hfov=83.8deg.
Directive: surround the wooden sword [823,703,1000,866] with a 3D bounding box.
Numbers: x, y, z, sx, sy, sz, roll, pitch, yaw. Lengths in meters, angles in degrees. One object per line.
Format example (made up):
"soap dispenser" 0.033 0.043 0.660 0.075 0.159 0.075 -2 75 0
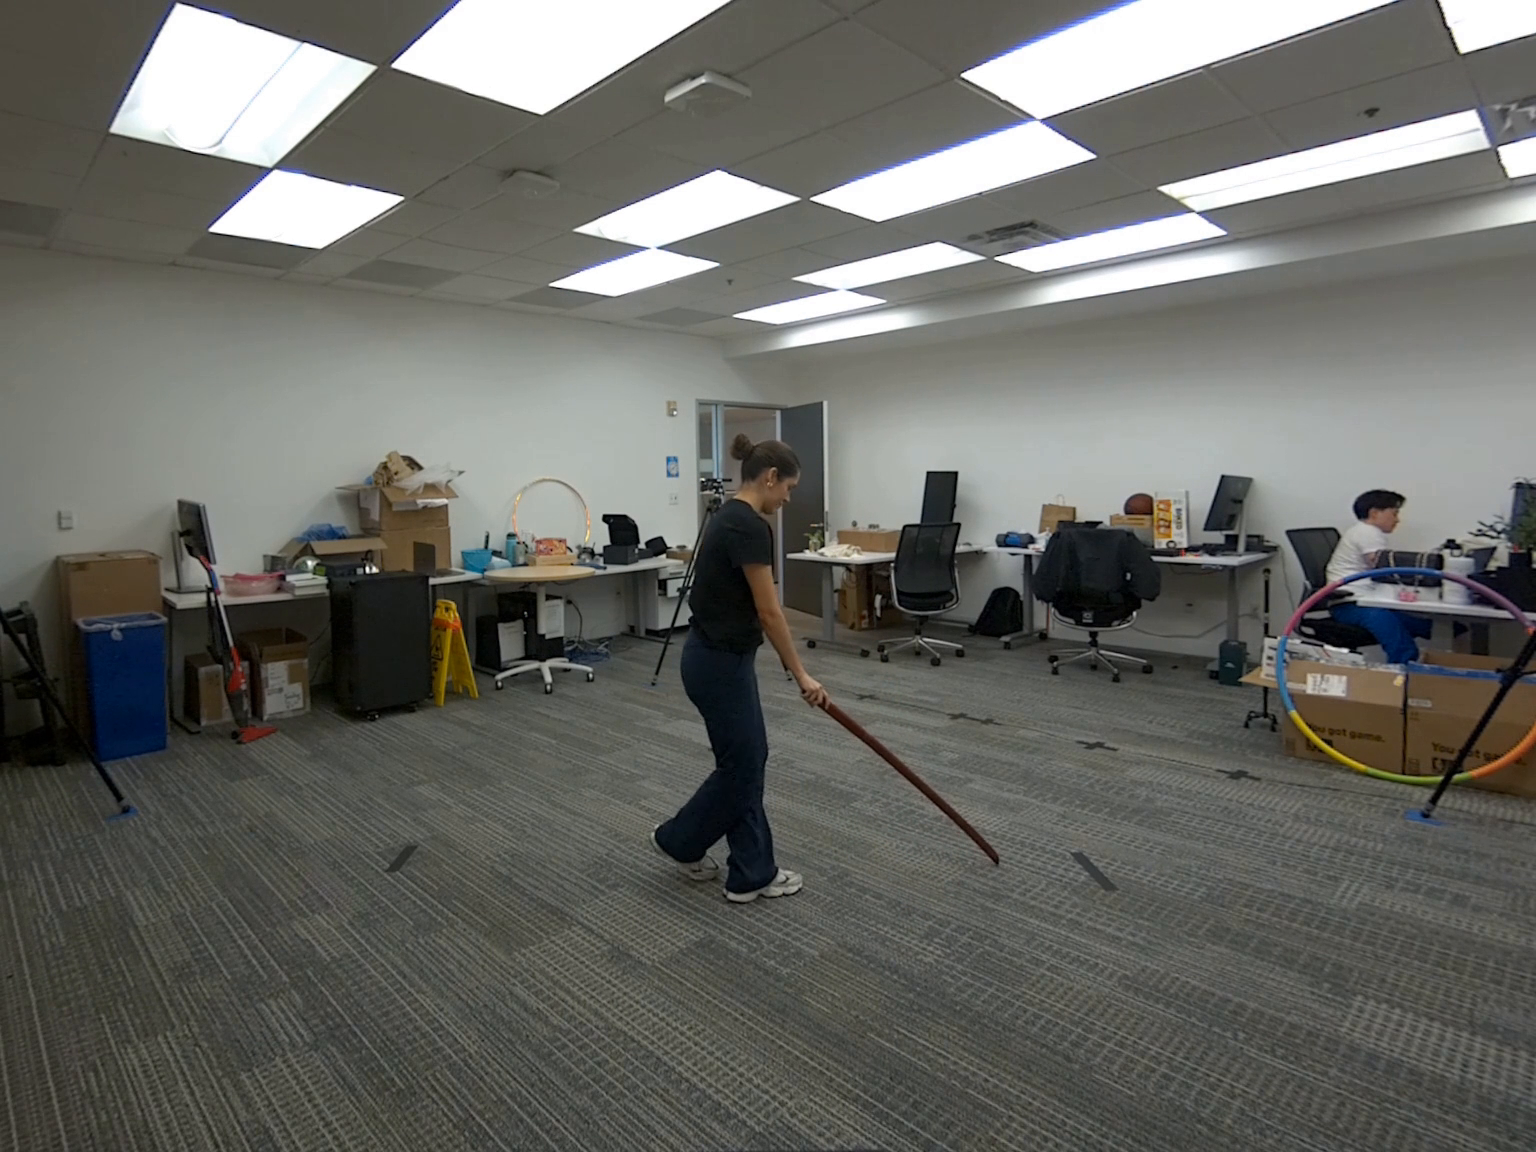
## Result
"wooden sword" 0.470 0.679 2.931 0.024 1.003 0.051 -25 27 52
